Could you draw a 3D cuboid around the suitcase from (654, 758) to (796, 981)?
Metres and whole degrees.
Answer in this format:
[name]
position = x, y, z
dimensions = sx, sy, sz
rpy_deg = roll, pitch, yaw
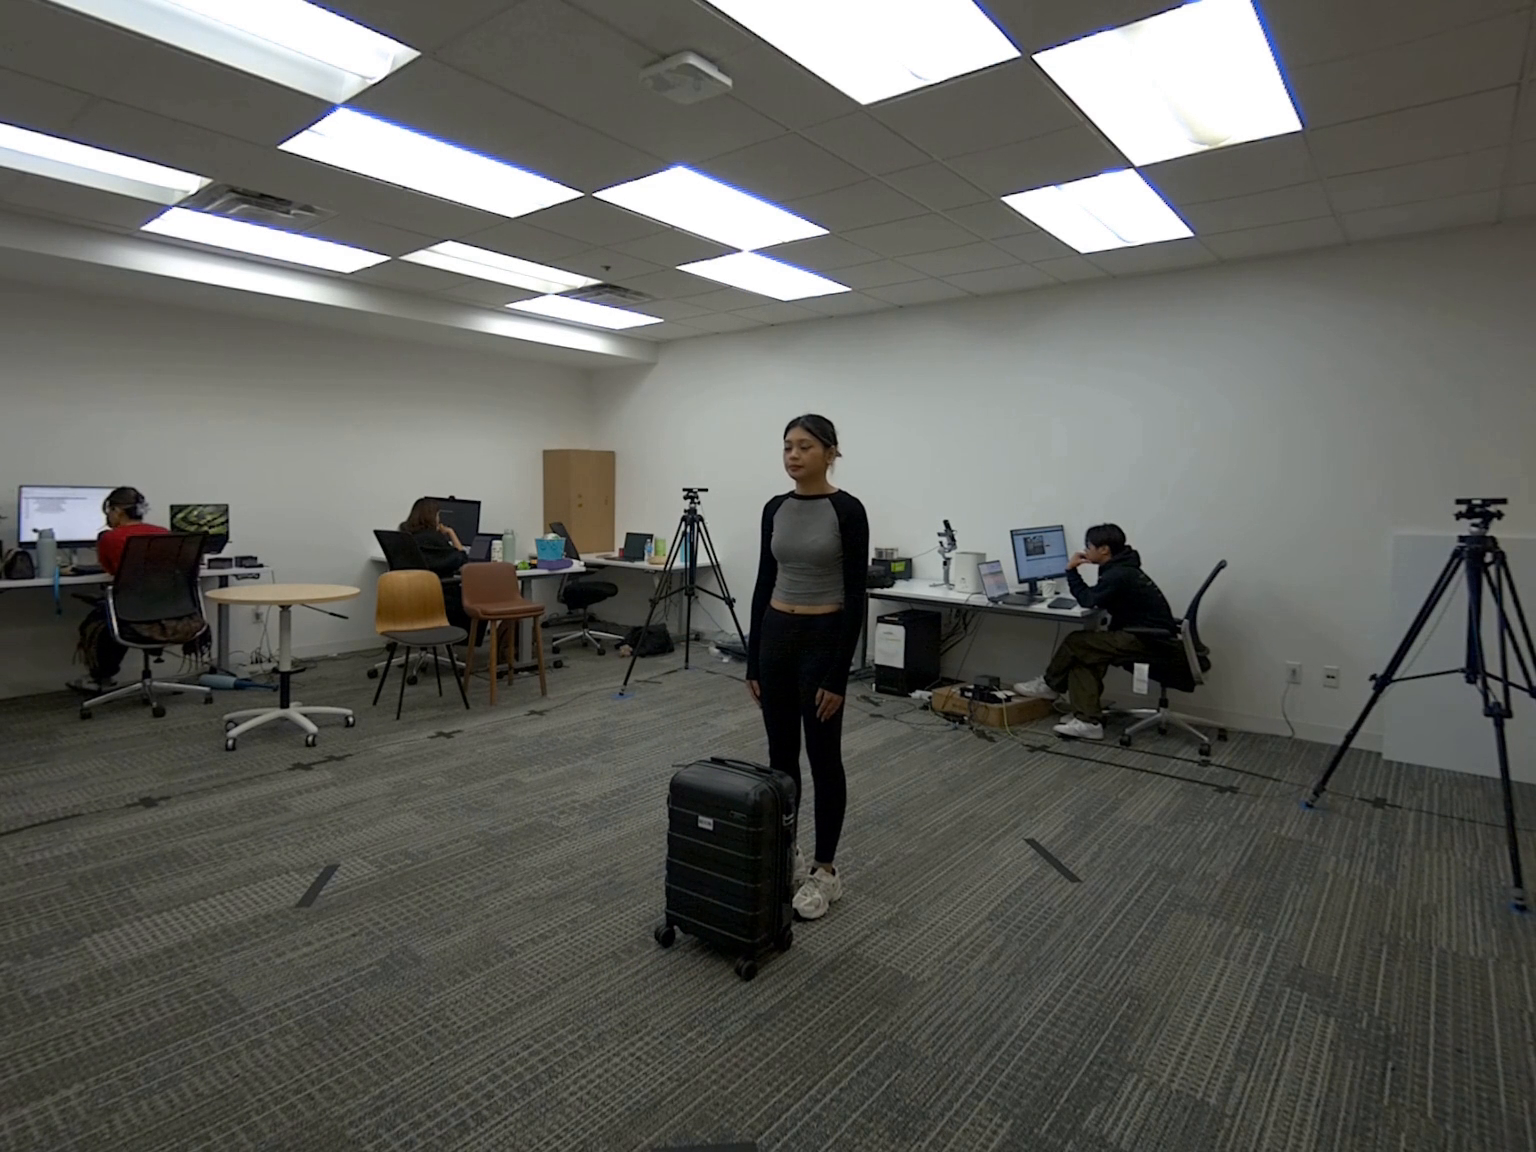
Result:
[suitcase]
position = -0.123, 0.845, 2.585
dimensions = 0.387, 0.548, 0.241
rpy_deg = 4, 3, 34
